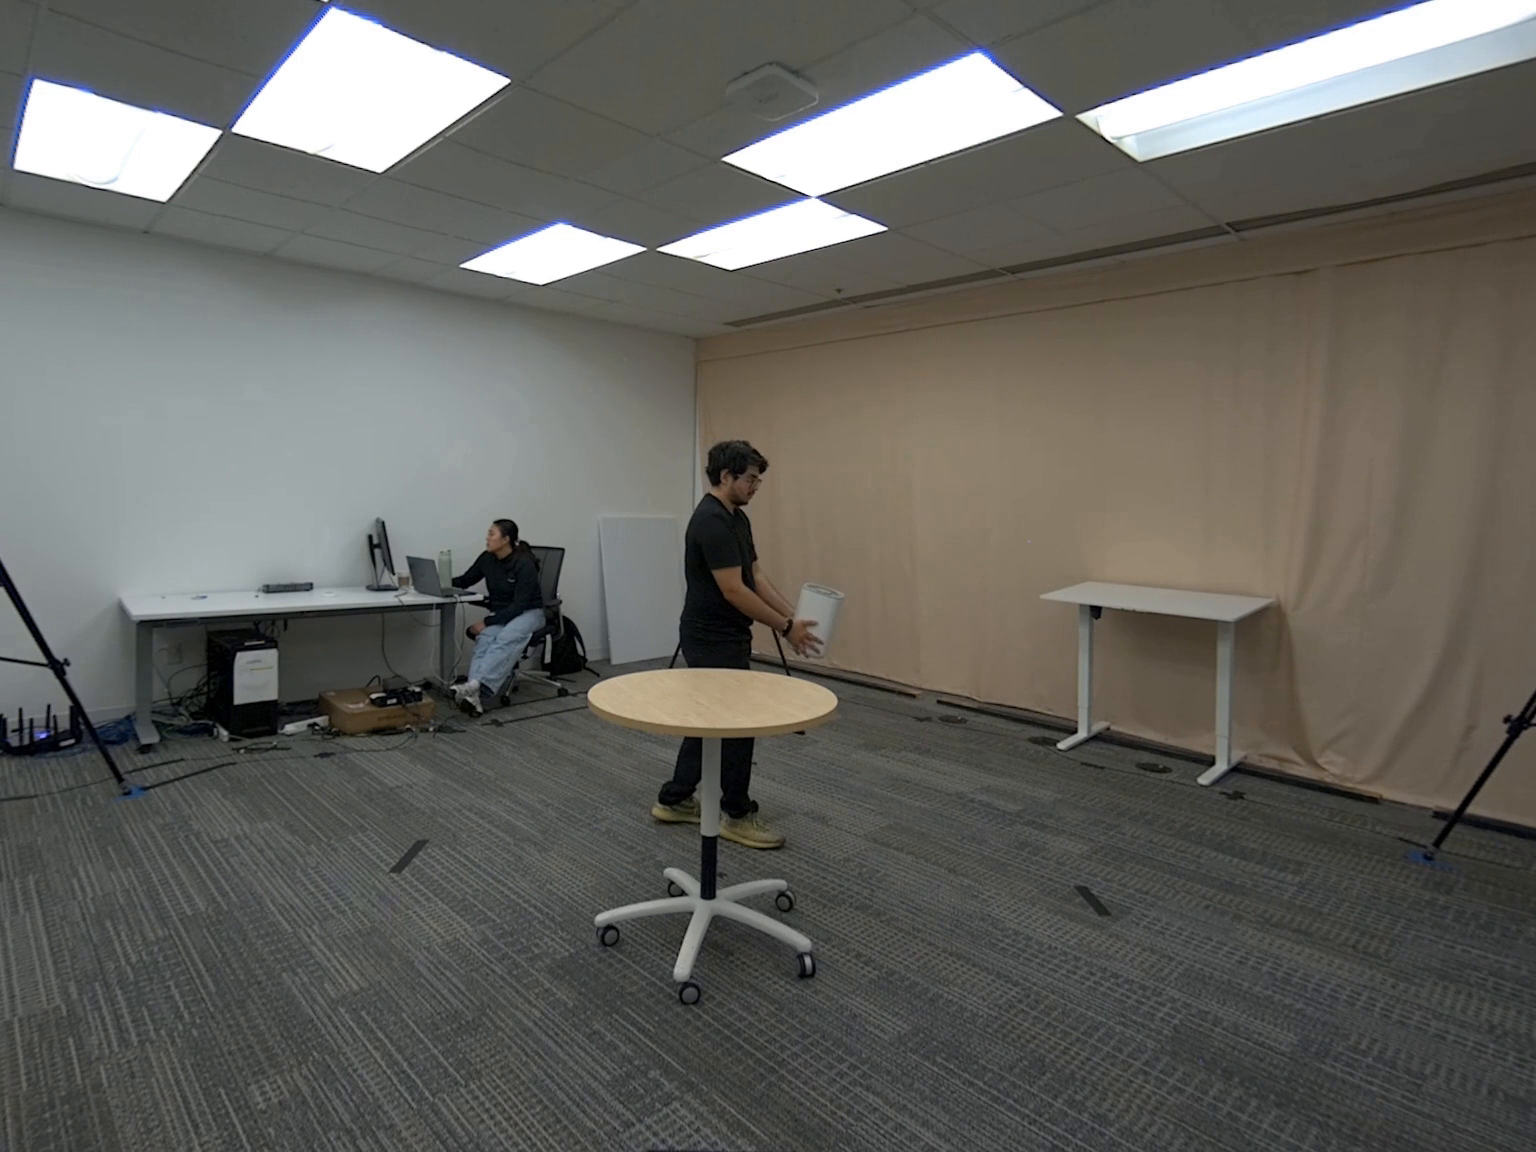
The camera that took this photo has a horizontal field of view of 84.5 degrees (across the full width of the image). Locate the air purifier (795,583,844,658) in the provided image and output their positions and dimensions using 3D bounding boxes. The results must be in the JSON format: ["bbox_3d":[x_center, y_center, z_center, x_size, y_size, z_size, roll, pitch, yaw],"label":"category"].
[{"bbox_3d":[0.181,0.178,3.401,0.173,0.264,0.171,16,8,9],"label":"air purifier"}]
